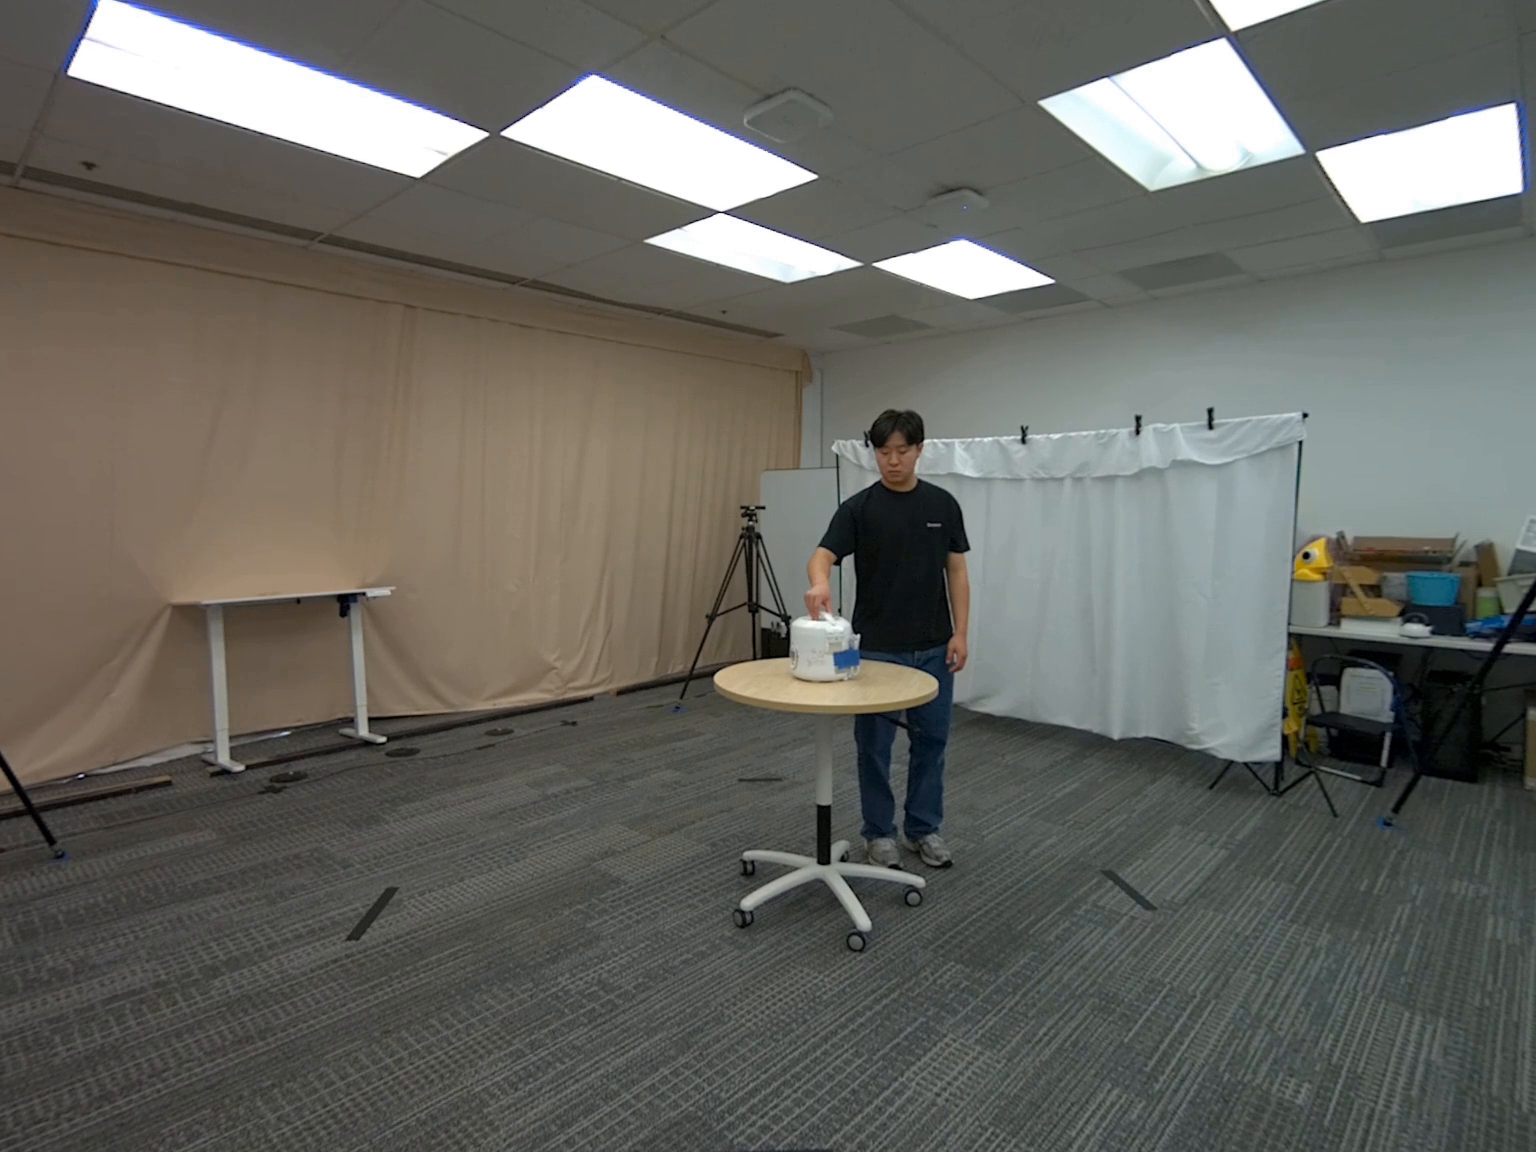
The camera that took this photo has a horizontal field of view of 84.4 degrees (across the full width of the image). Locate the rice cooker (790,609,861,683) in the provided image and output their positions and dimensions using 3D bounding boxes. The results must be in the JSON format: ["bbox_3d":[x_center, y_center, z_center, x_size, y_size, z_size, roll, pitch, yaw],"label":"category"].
[{"bbox_3d":[0.188,0.238,2.914,0.213,0.232,0.226,0,3,-22],"label":"rice cooker"}]
